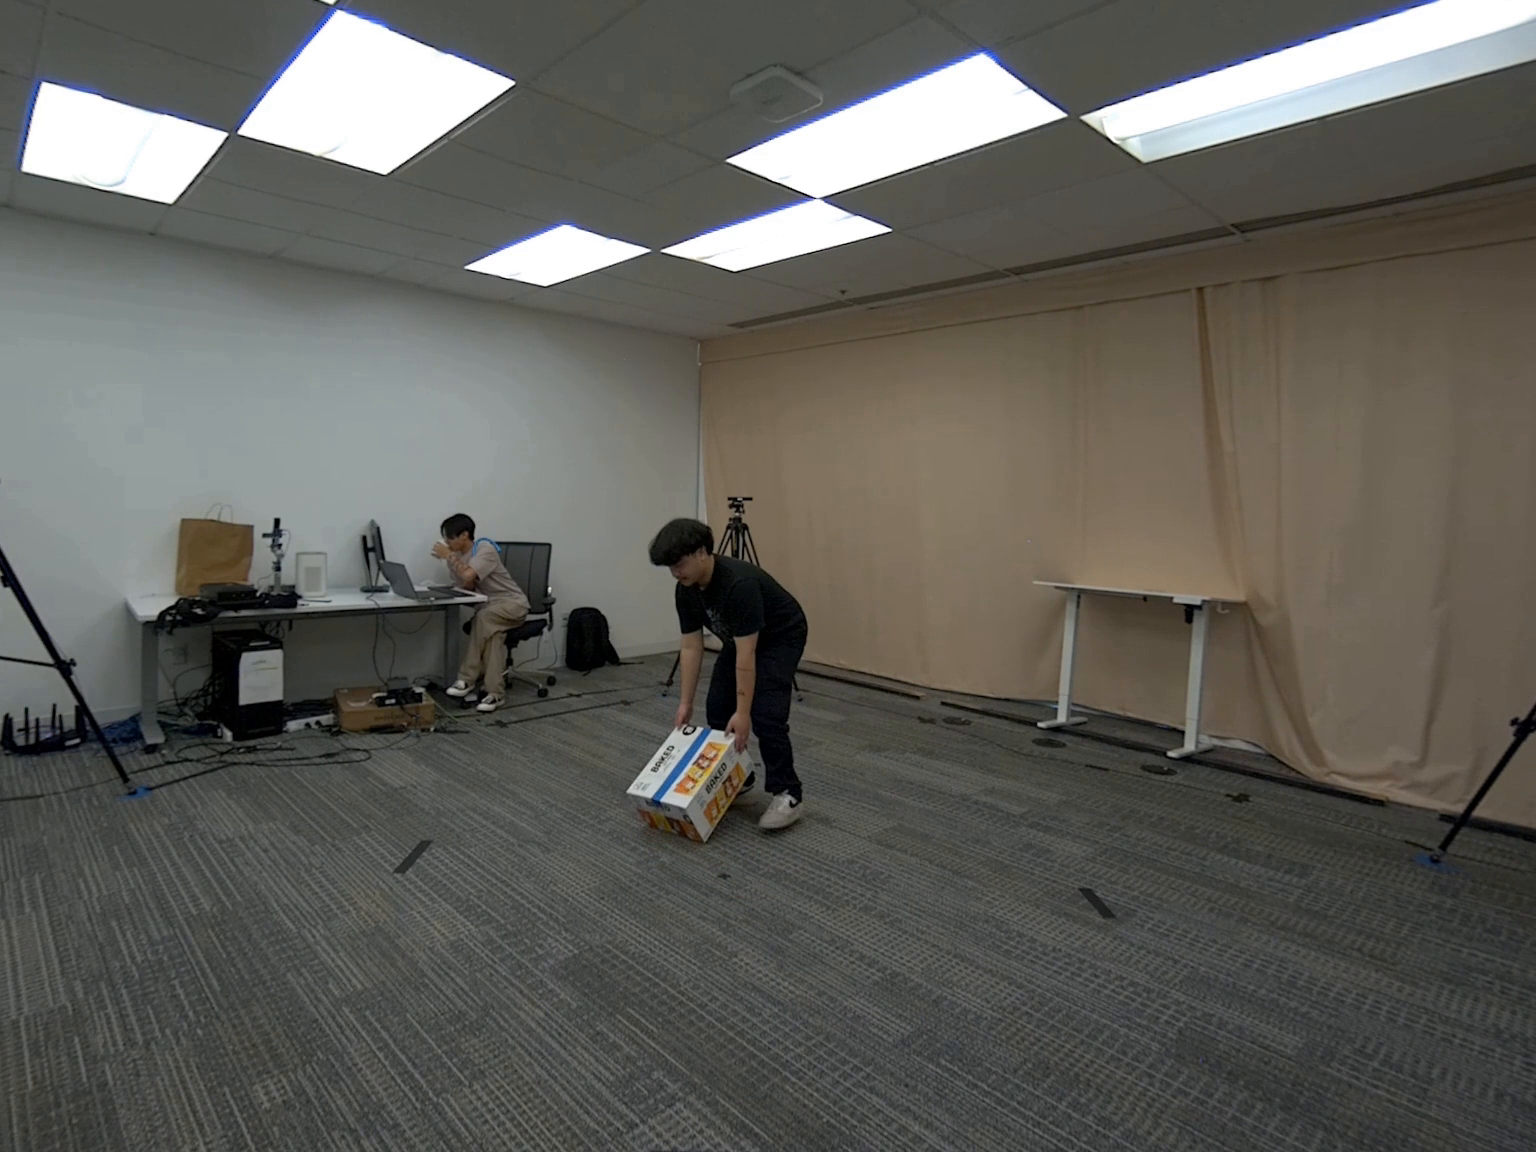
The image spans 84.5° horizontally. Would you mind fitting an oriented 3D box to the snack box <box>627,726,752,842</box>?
[{"bbox_3d":[-0.331,0.864,3.546,0.348,0.200,0.406,1,38,38],"label":"snack box"}]
